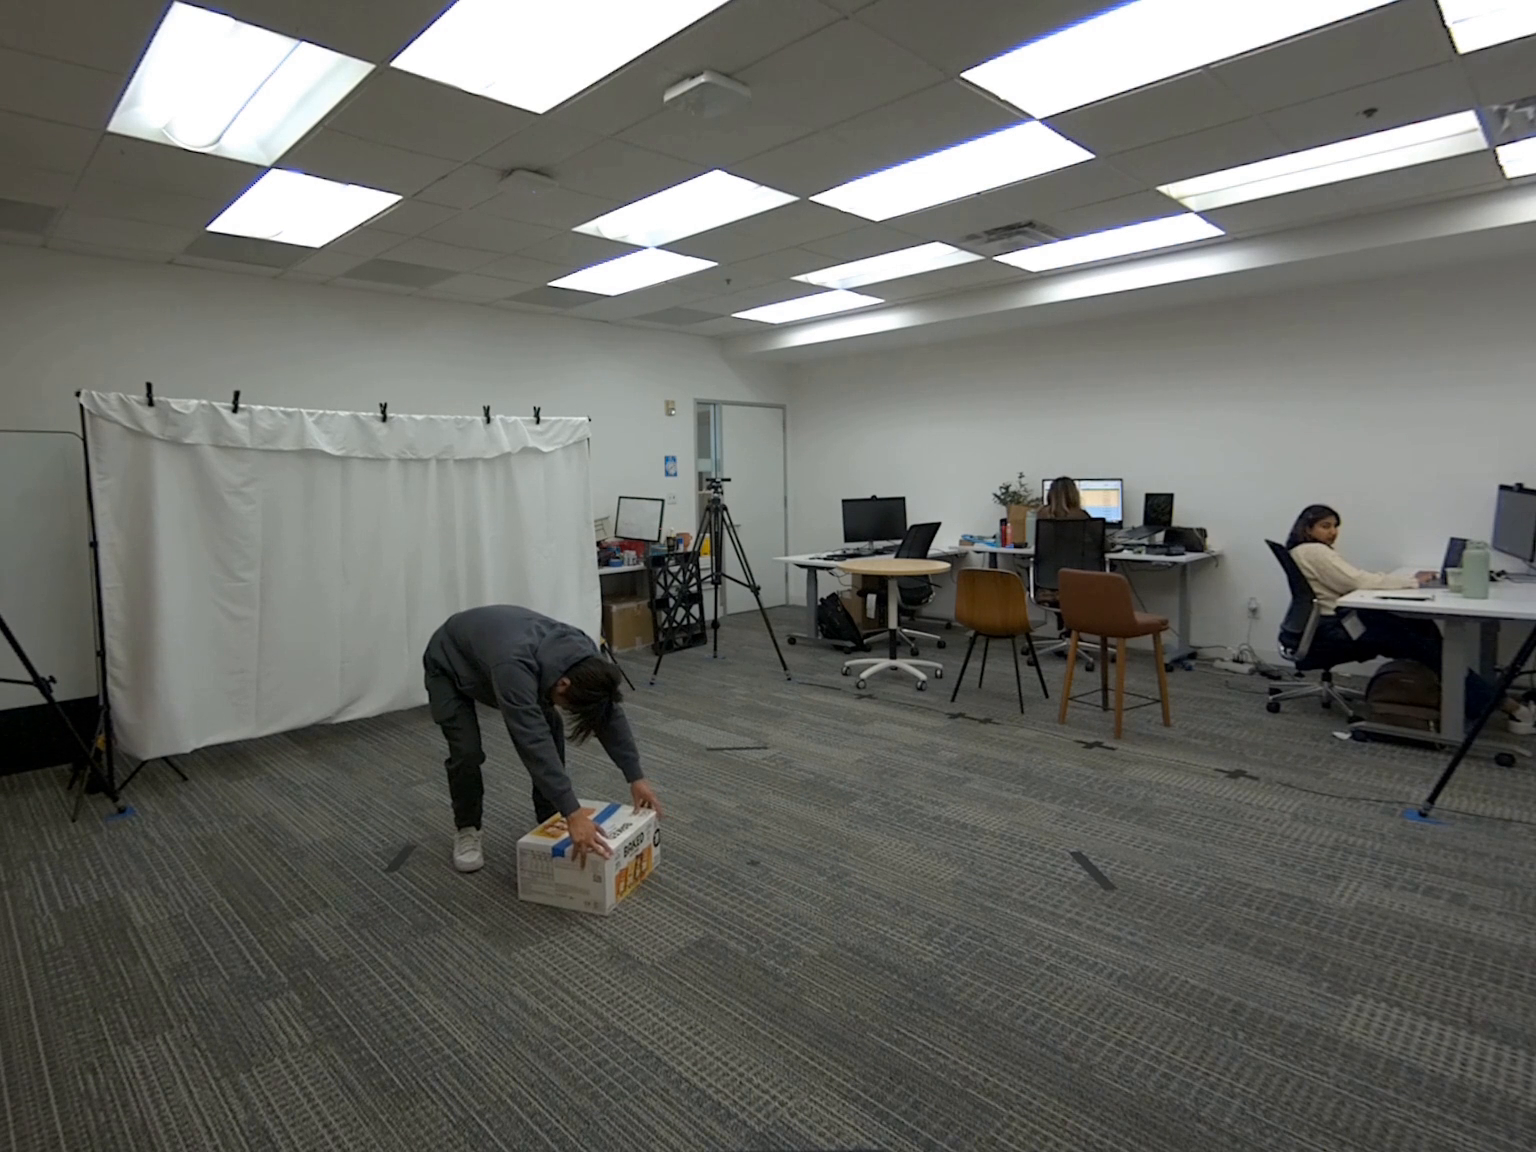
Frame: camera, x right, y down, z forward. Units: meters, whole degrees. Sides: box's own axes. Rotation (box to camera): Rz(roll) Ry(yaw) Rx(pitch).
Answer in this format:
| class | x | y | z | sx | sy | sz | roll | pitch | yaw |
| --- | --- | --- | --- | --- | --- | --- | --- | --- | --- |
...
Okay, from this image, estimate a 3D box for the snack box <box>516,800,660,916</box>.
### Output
| class | x | y | z | sx | sy | sz | roll | pitch | yaw |
| --- | --- | --- | --- | --- | --- | --- | --- | --- | --- |
| snack box | -0.612 | 0.970 | 2.978 | 0.347 | 0.205 | 0.399 | 1 | 6 | 20 |
